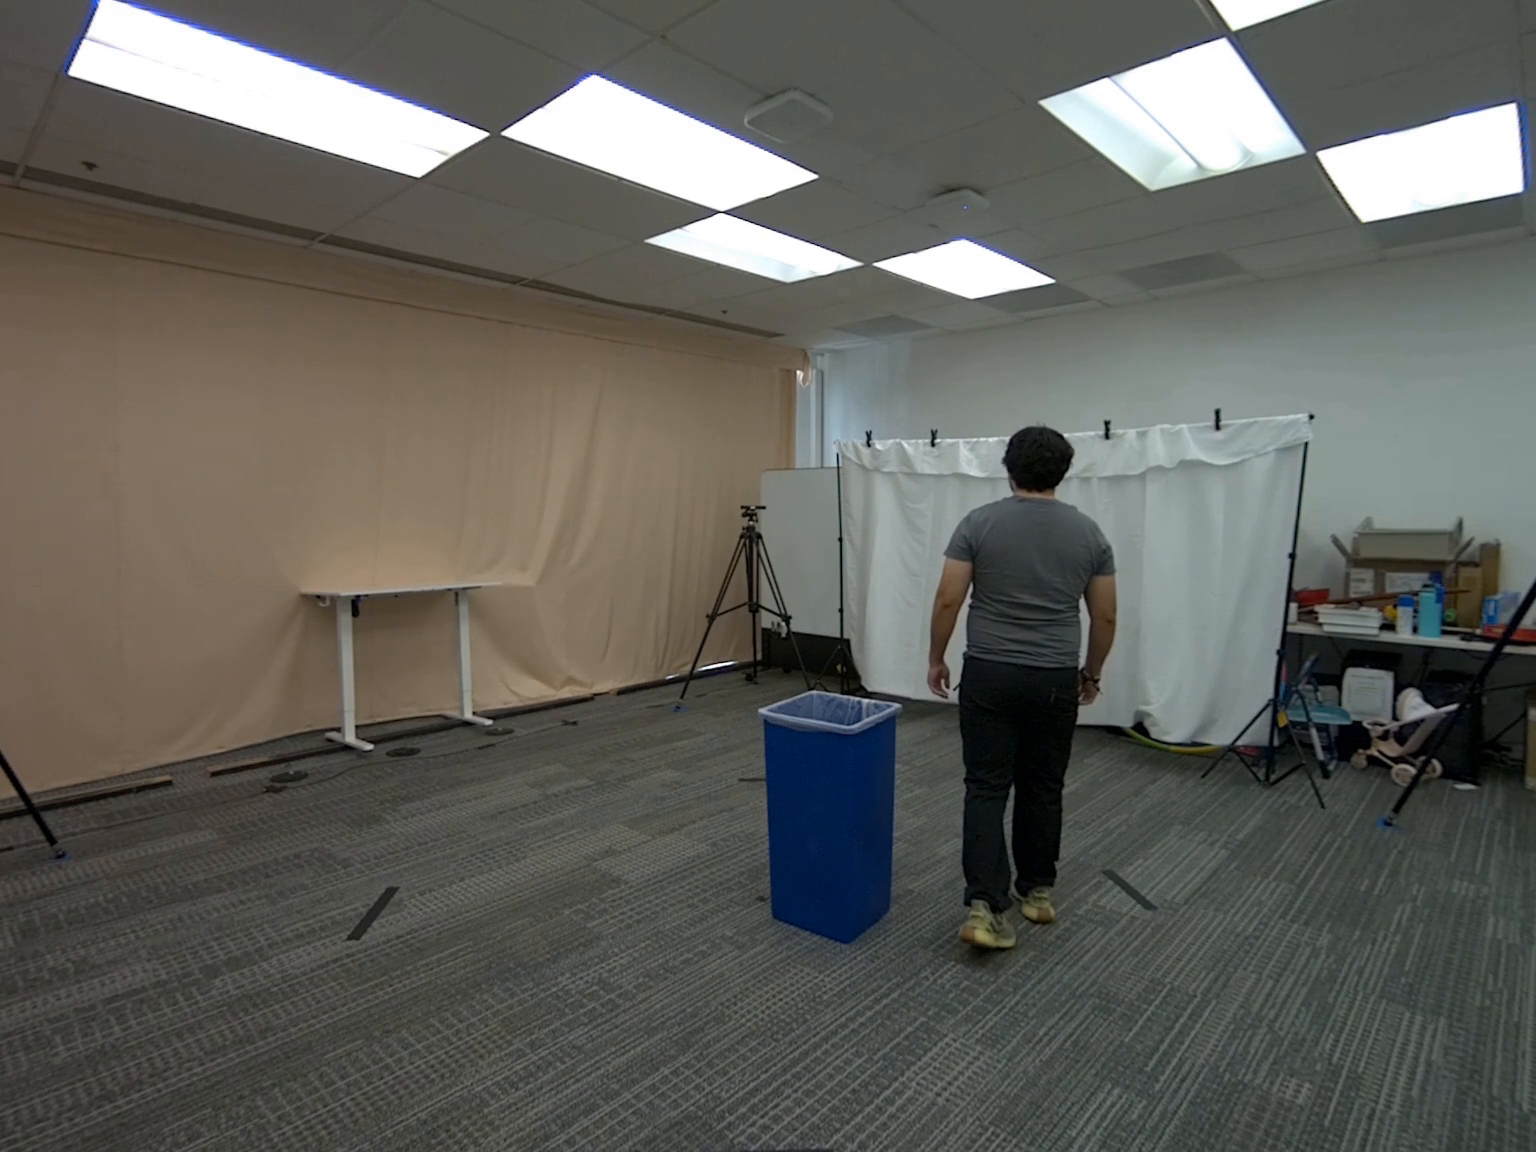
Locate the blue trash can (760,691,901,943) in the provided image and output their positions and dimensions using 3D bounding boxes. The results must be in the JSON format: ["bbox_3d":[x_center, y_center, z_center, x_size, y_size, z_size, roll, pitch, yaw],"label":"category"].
[{"bbox_3d":[0.216,0.797,2.848,0.390,0.712,0.363,2,4,36],"label":"blue trash can"}]
